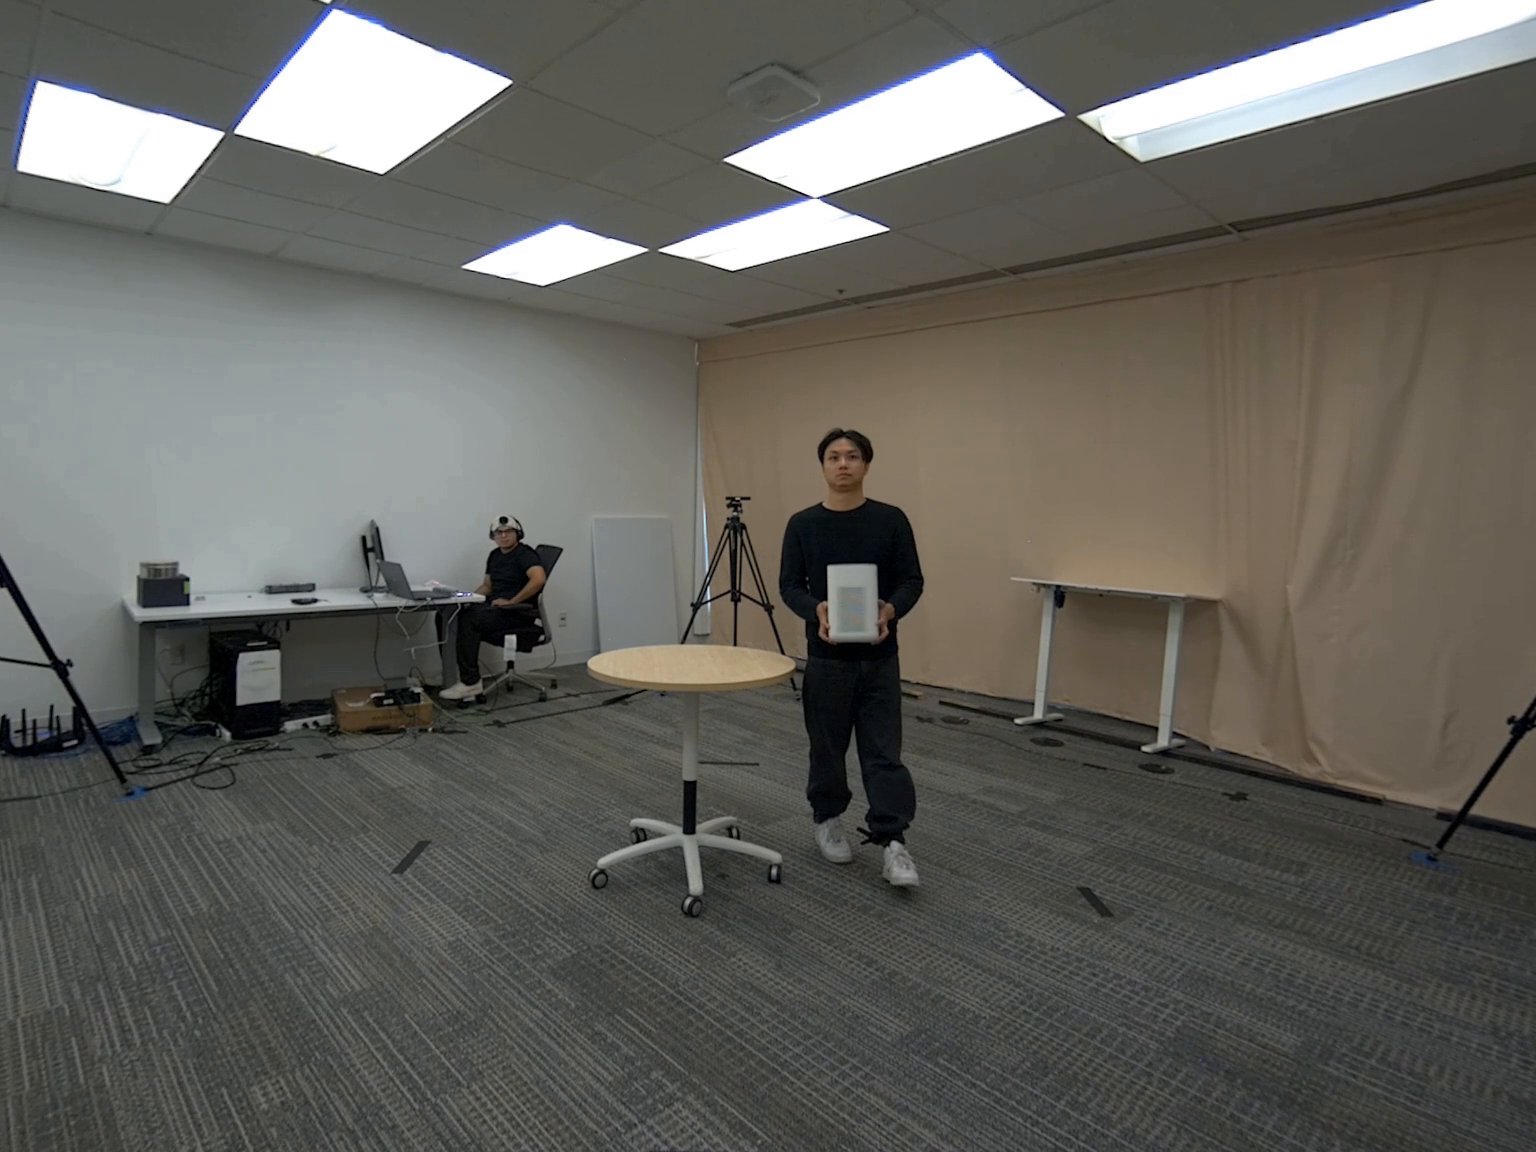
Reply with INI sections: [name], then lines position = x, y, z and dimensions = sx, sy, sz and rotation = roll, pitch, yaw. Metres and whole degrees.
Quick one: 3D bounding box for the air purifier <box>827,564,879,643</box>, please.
[air purifier]
position = 0.288, 0.095, 2.913
dimensions = 0.172, 0.267, 0.170
rotation = 0, -6, 2
